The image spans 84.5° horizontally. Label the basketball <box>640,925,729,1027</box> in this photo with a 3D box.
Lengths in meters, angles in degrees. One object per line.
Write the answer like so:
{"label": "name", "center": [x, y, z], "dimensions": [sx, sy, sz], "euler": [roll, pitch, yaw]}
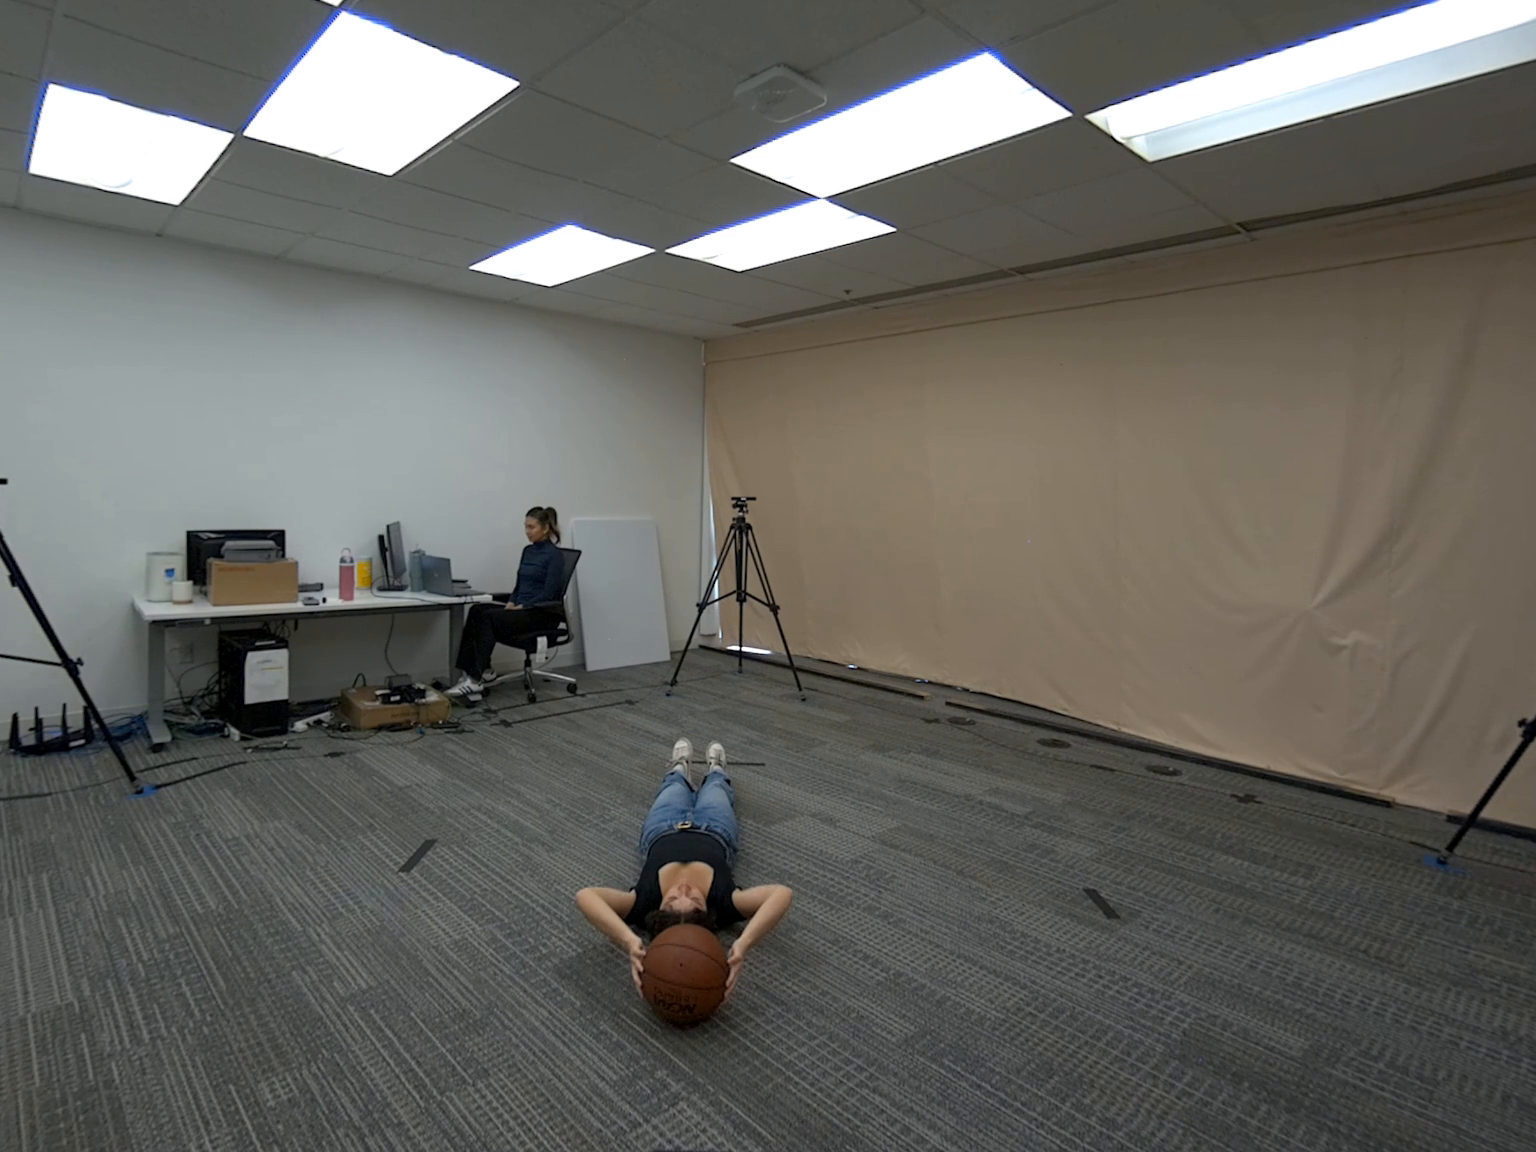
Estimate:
{"label": "basketball", "center": [-0.227, 1.051, 2.248], "dimensions": [0.236, 0.235, 0.237], "euler": [1, 4, -1]}
